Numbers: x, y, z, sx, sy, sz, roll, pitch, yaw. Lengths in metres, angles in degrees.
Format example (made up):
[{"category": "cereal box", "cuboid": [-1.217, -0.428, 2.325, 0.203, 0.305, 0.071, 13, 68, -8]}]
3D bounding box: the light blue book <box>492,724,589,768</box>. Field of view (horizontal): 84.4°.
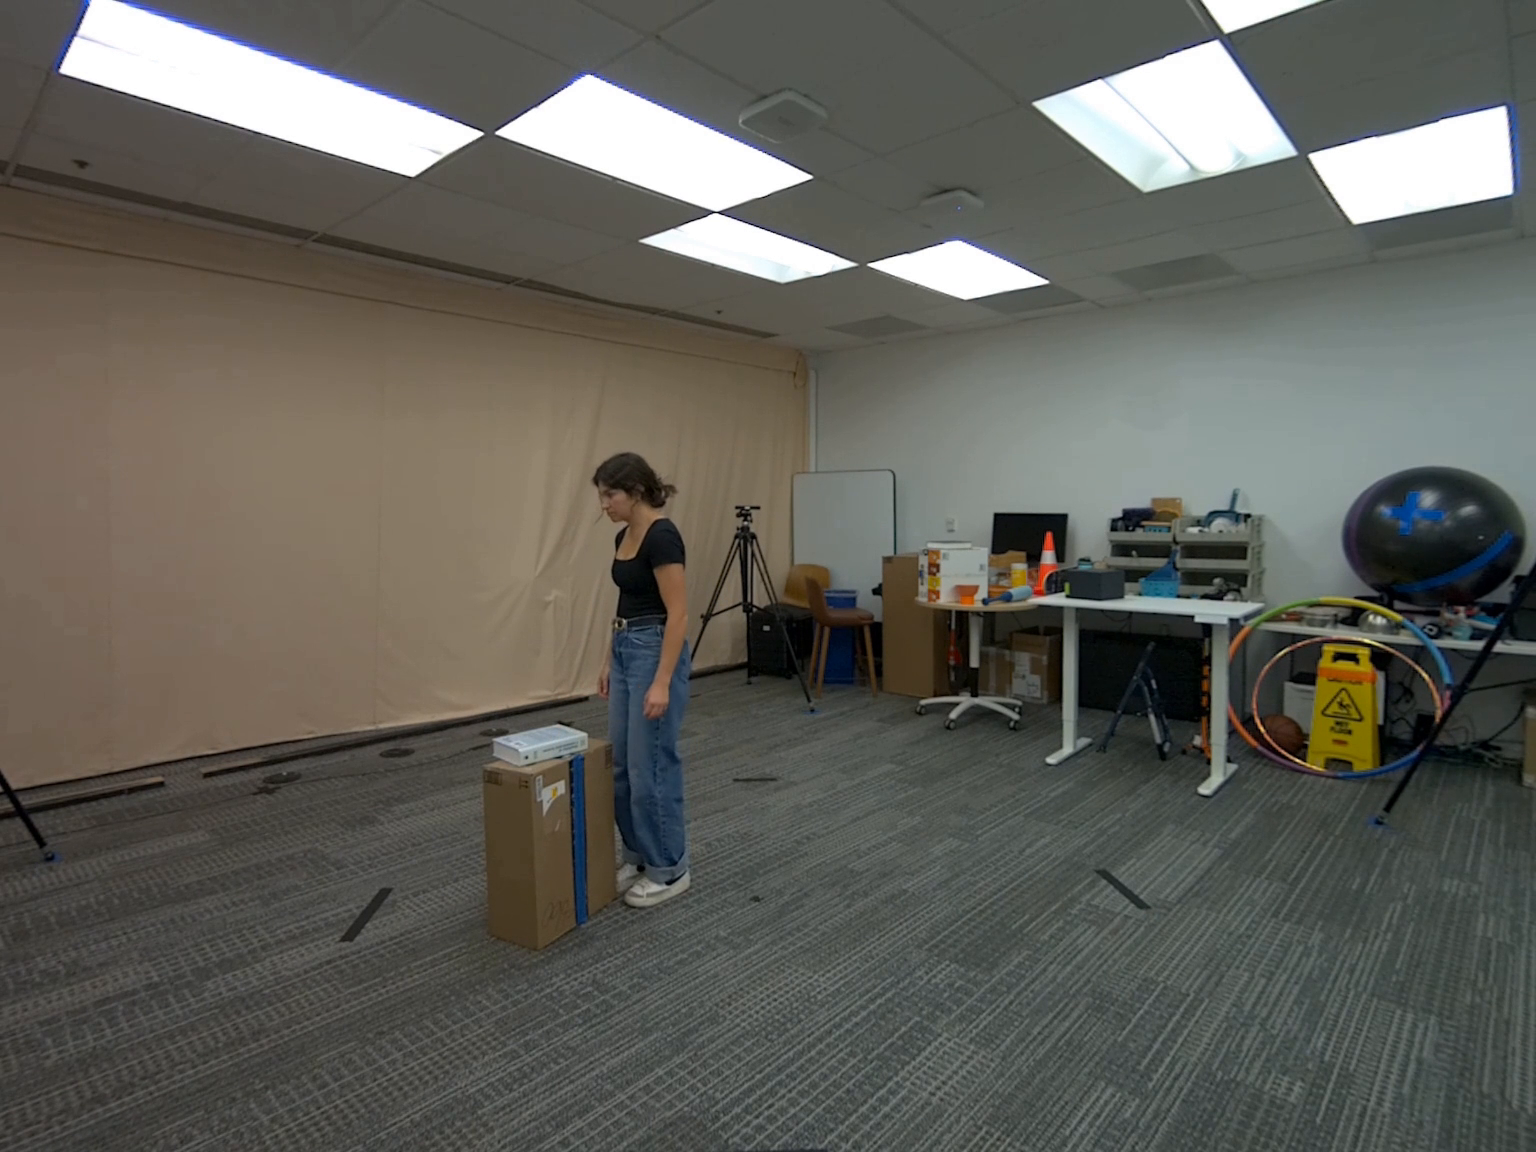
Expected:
[{"category": "light blue book", "cuboid": [-0.767, 0.571, 2.852, 0.253, 0.059, 0.197, -5, 4, -45]}]
